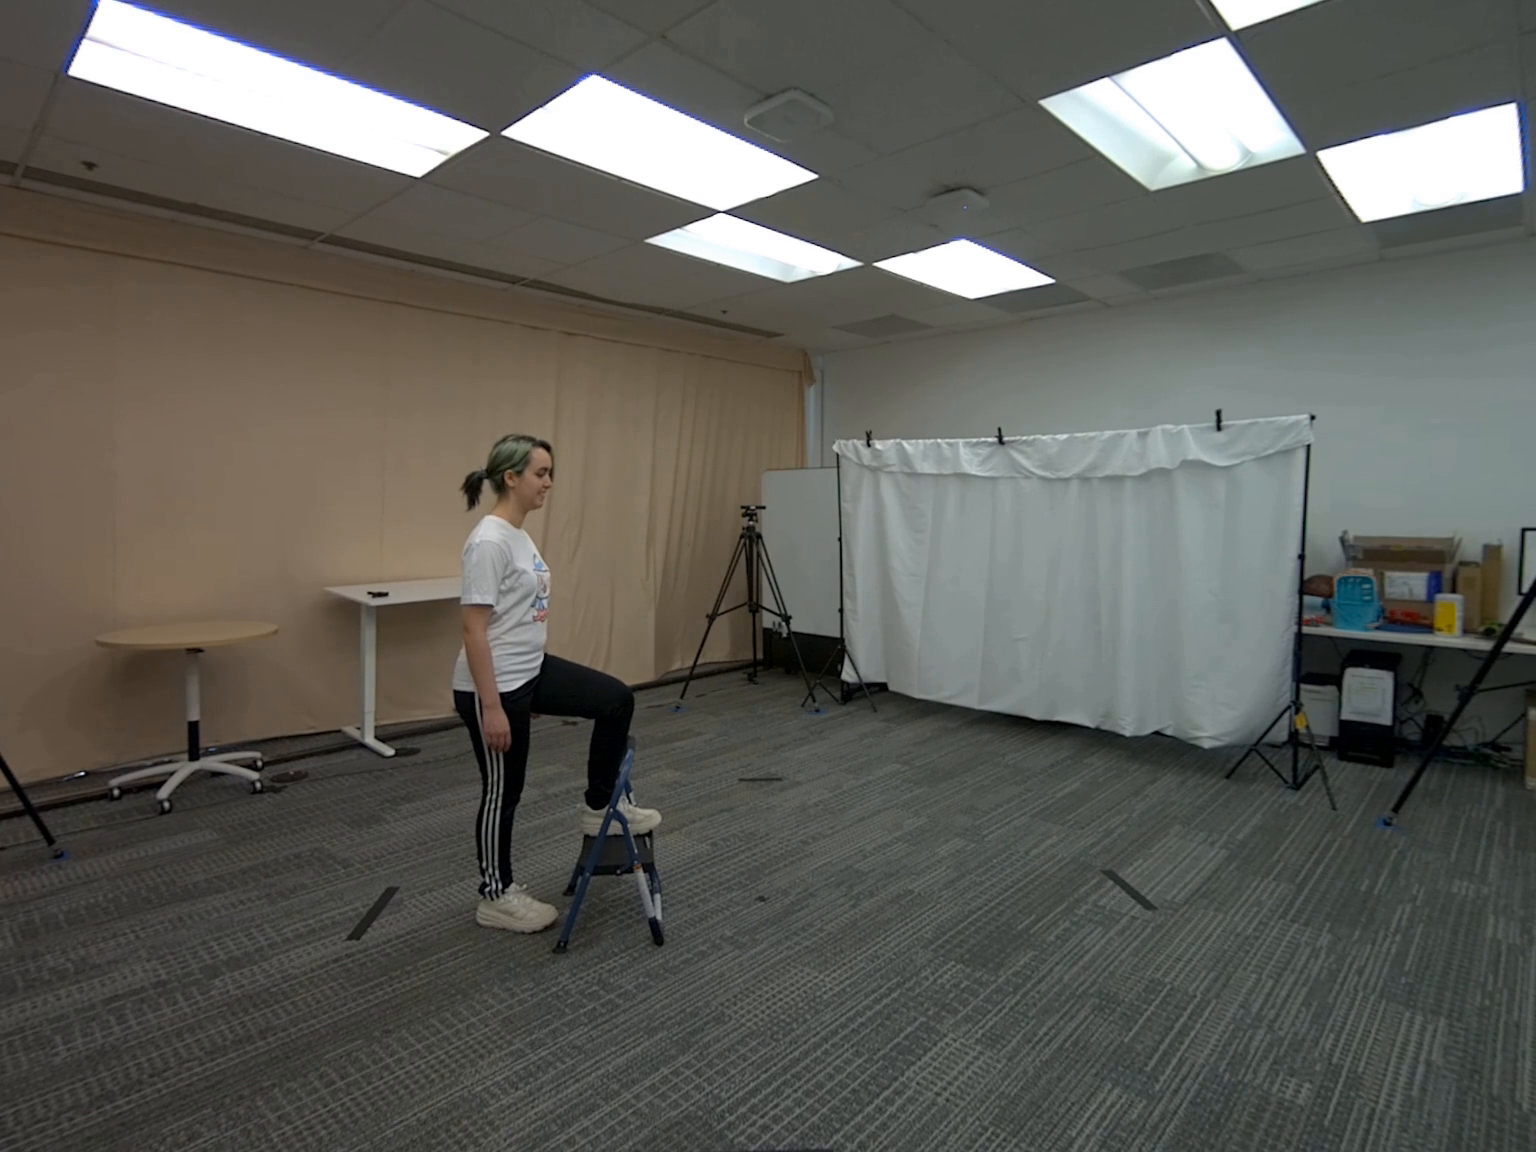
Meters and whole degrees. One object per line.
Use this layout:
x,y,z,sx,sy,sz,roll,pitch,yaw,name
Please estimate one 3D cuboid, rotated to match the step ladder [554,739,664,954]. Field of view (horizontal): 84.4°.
-0.532,0.865,2.834,0.346,0.605,0.435,-1,3,-9,step ladder
